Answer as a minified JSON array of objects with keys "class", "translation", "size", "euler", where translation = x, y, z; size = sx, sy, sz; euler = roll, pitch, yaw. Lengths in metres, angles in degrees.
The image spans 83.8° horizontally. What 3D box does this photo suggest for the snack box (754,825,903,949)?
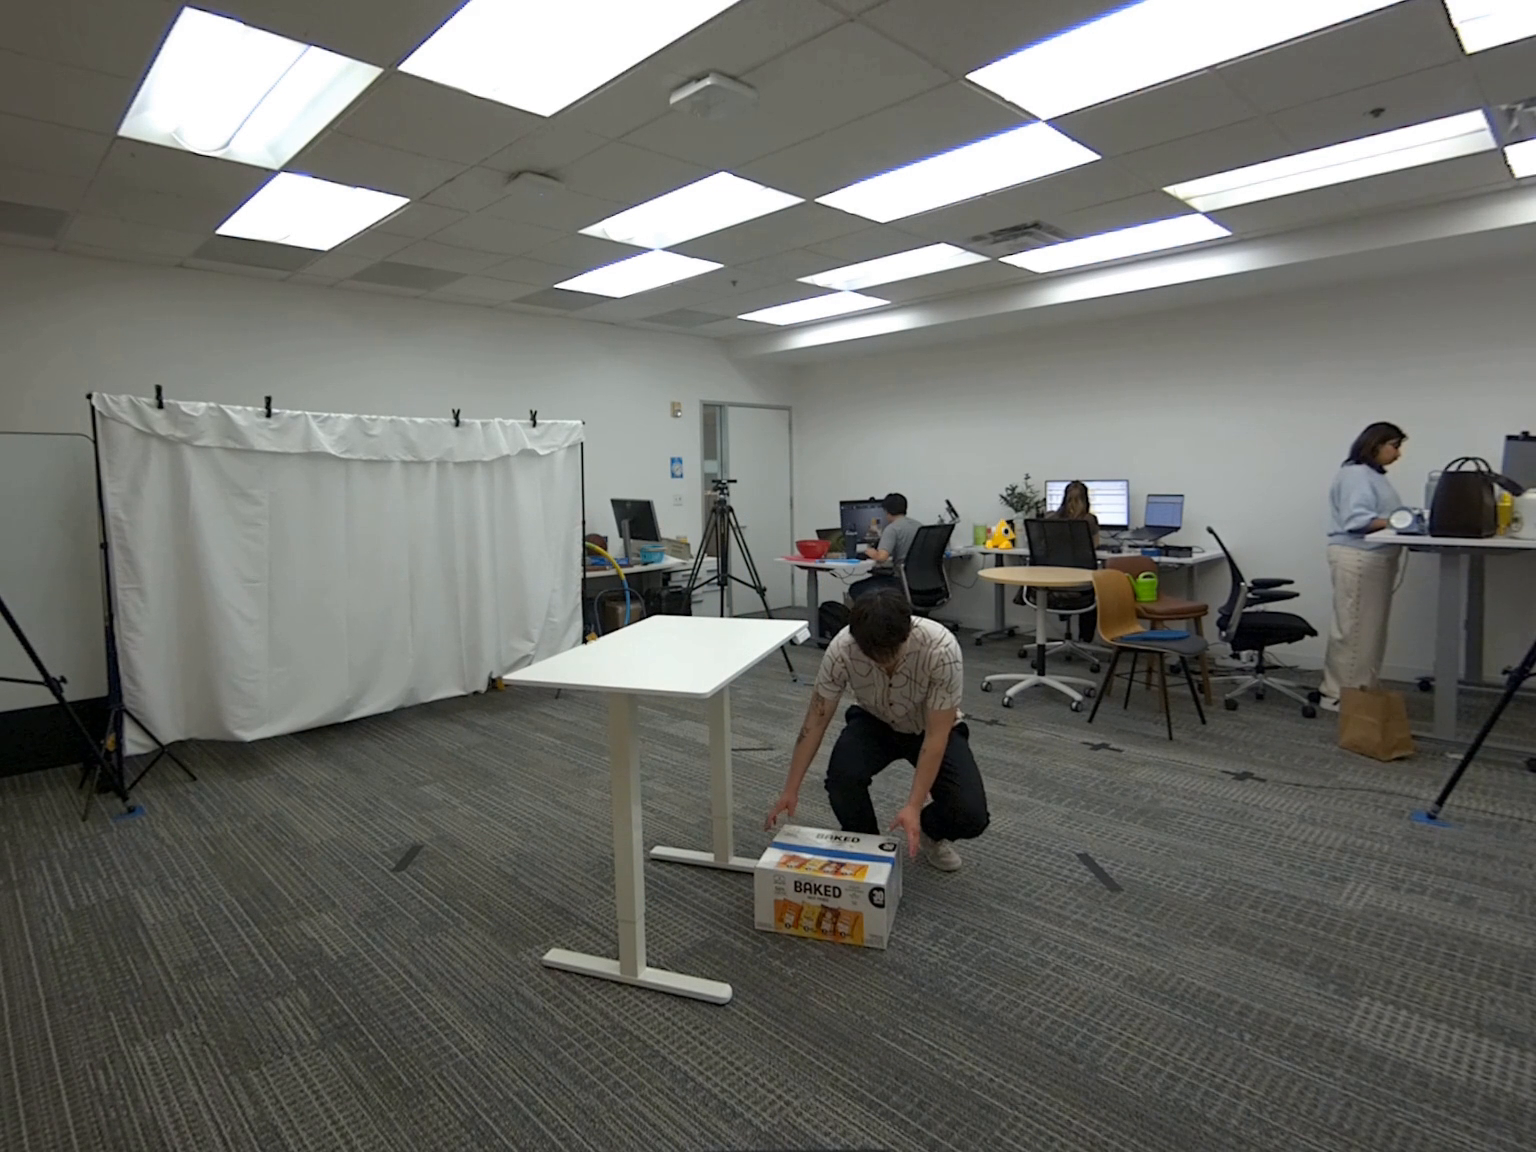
[{"class":"snack box","translation":[0.205,0.985,2.734],"size":[0.412,0.205,0.336],"euler":[1,6,18]}]
